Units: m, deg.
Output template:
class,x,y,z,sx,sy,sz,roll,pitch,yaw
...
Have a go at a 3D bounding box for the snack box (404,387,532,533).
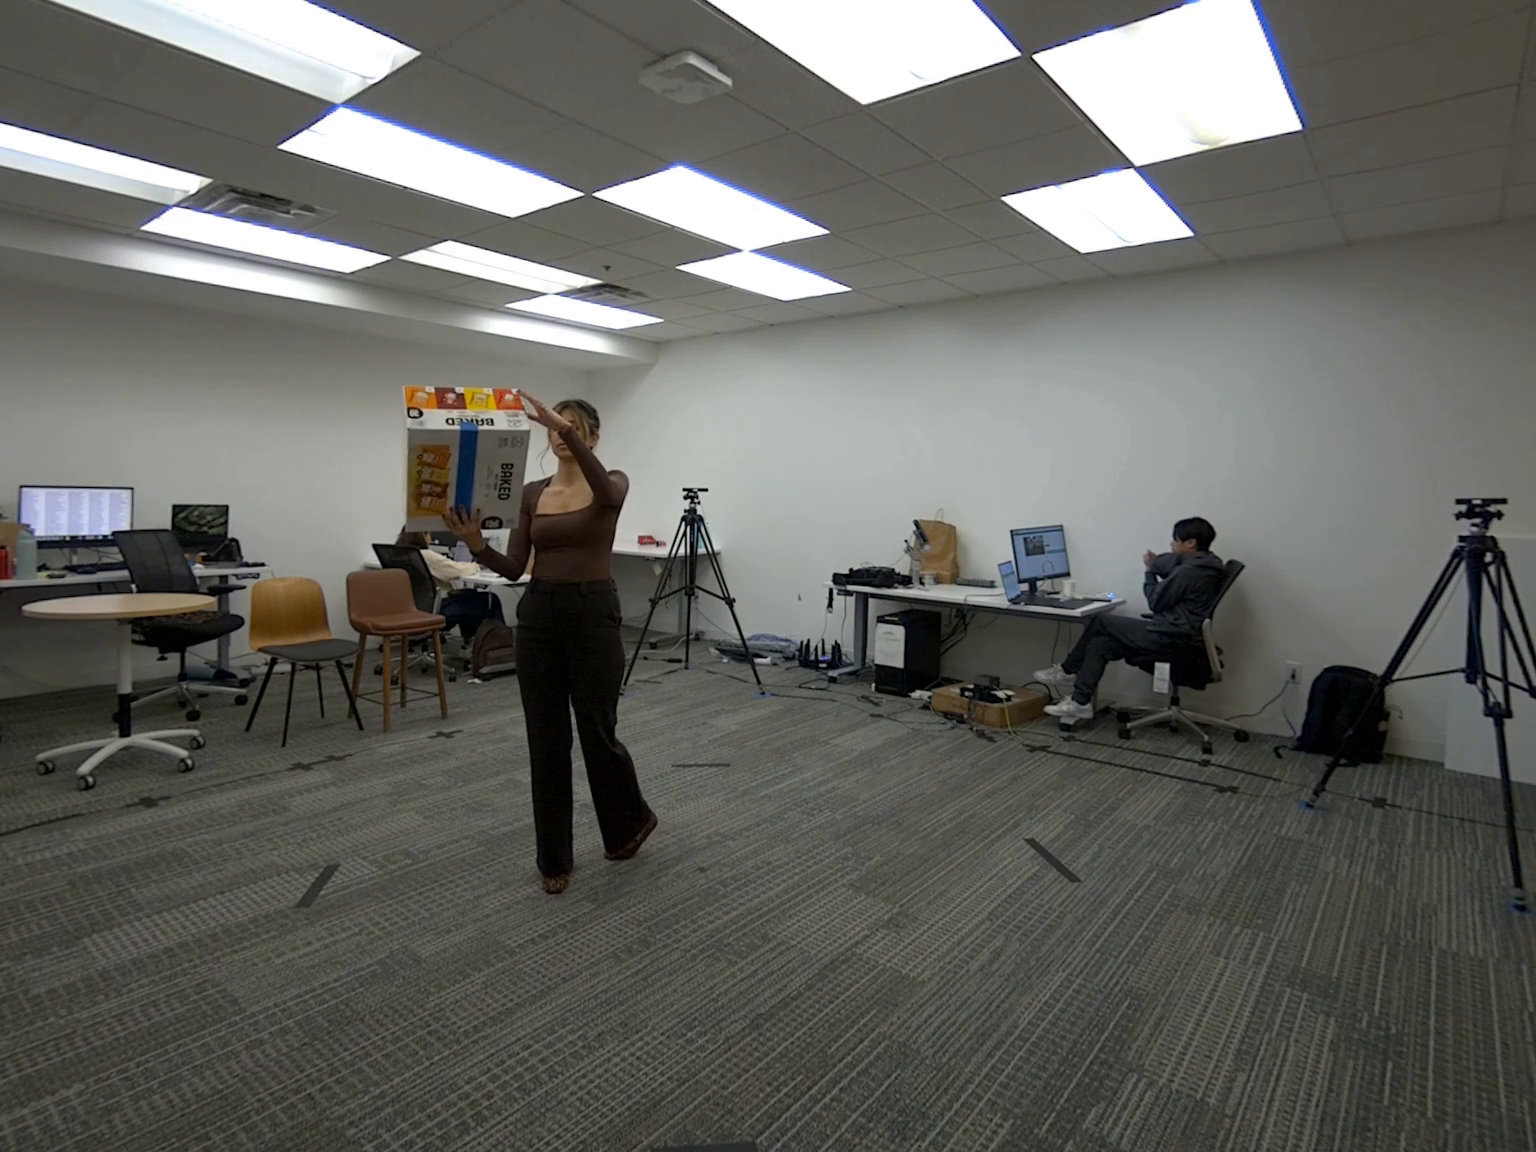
class,x,y,z,sx,sy,sz,roll,pitch,yaw
snack box,-0.946,-0.354,2.602,0.333,0.398,0.214,-3,47,-24
